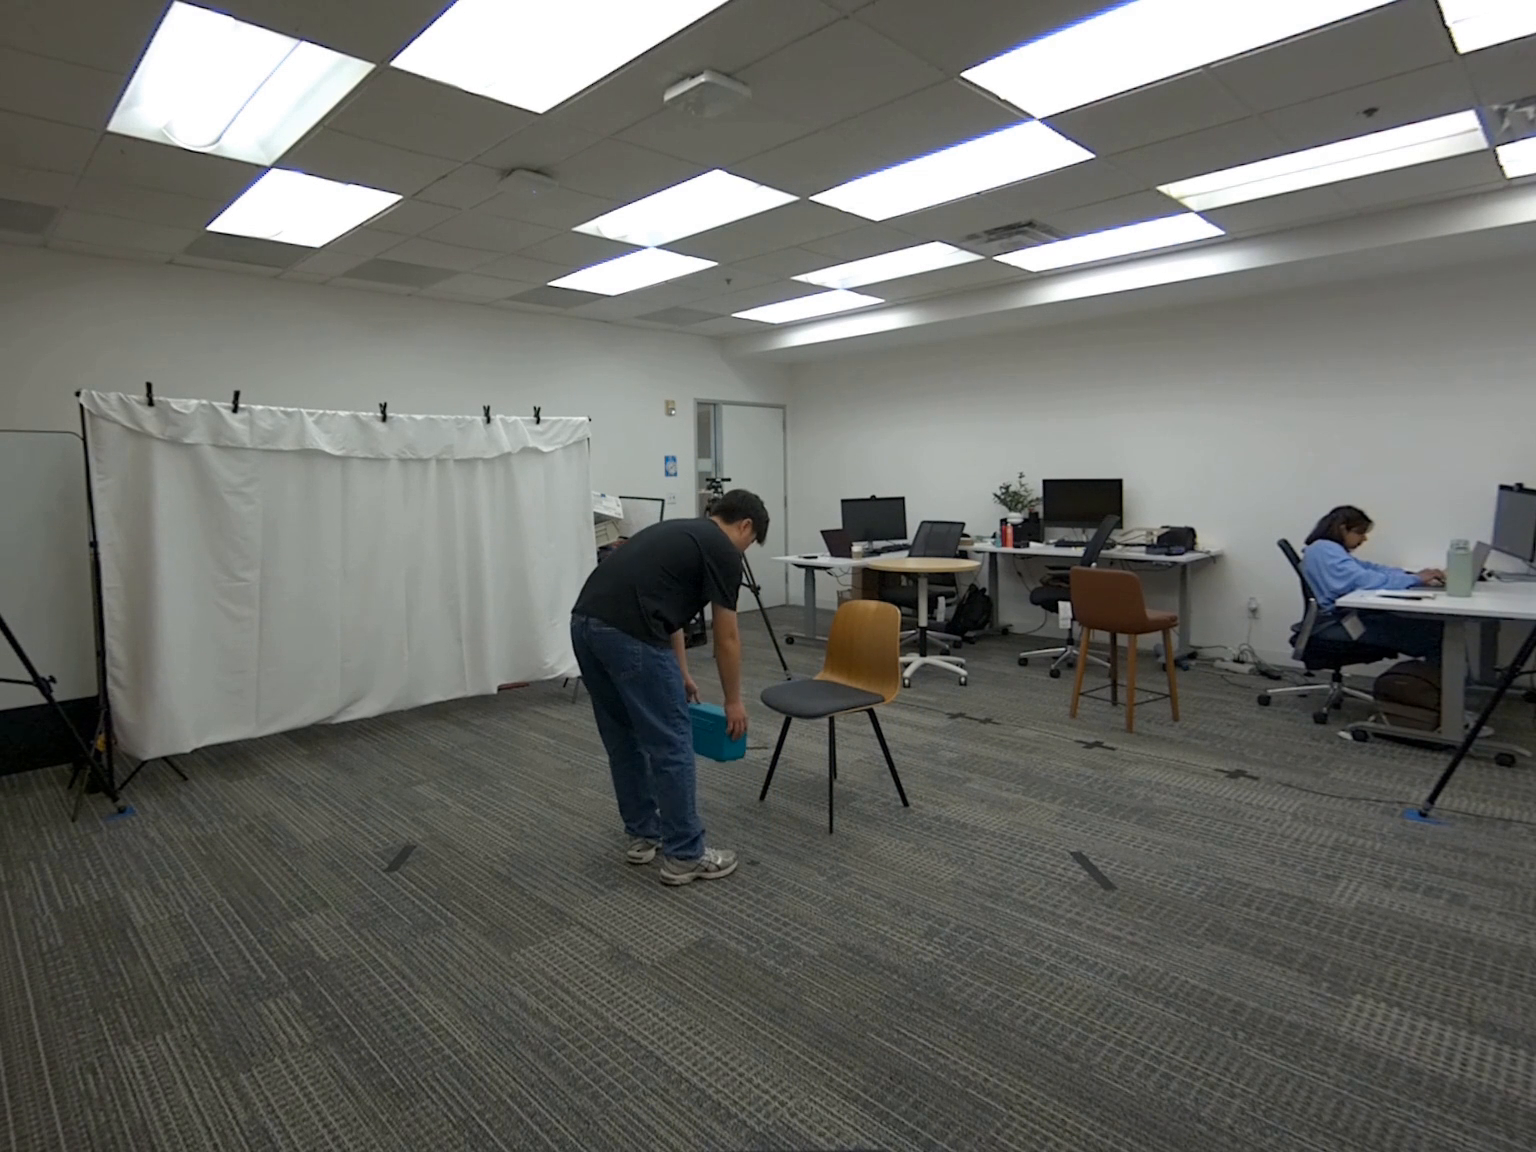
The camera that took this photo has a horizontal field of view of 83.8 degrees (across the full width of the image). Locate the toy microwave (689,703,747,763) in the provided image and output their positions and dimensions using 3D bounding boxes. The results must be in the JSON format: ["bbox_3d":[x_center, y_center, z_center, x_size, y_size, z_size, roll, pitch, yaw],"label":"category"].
[{"bbox_3d":[-0.215,0.611,3.366,0.148,0.184,0.295,3,2,-45],"label":"toy microwave"}]
